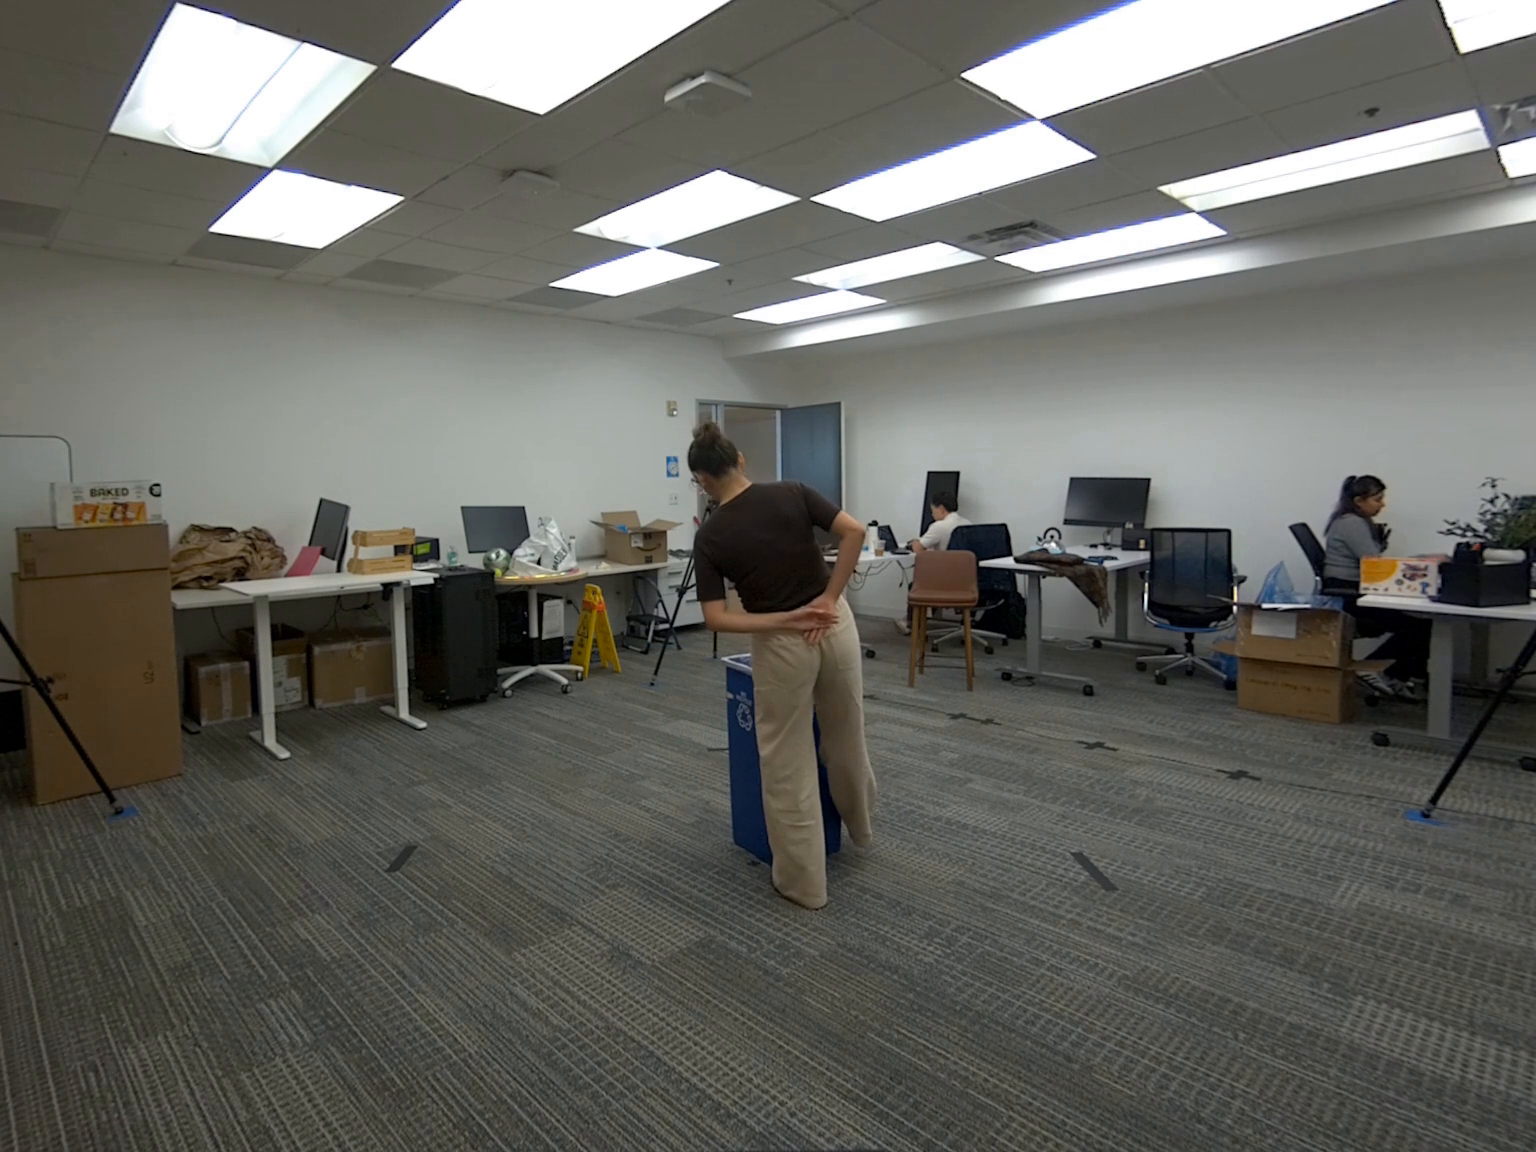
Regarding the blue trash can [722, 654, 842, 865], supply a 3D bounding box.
[{"bbox_3d":[0.057,0.671,3.225,0.365,0.711,0.389,-4,5,-33],"label":"blue trash can"}]
